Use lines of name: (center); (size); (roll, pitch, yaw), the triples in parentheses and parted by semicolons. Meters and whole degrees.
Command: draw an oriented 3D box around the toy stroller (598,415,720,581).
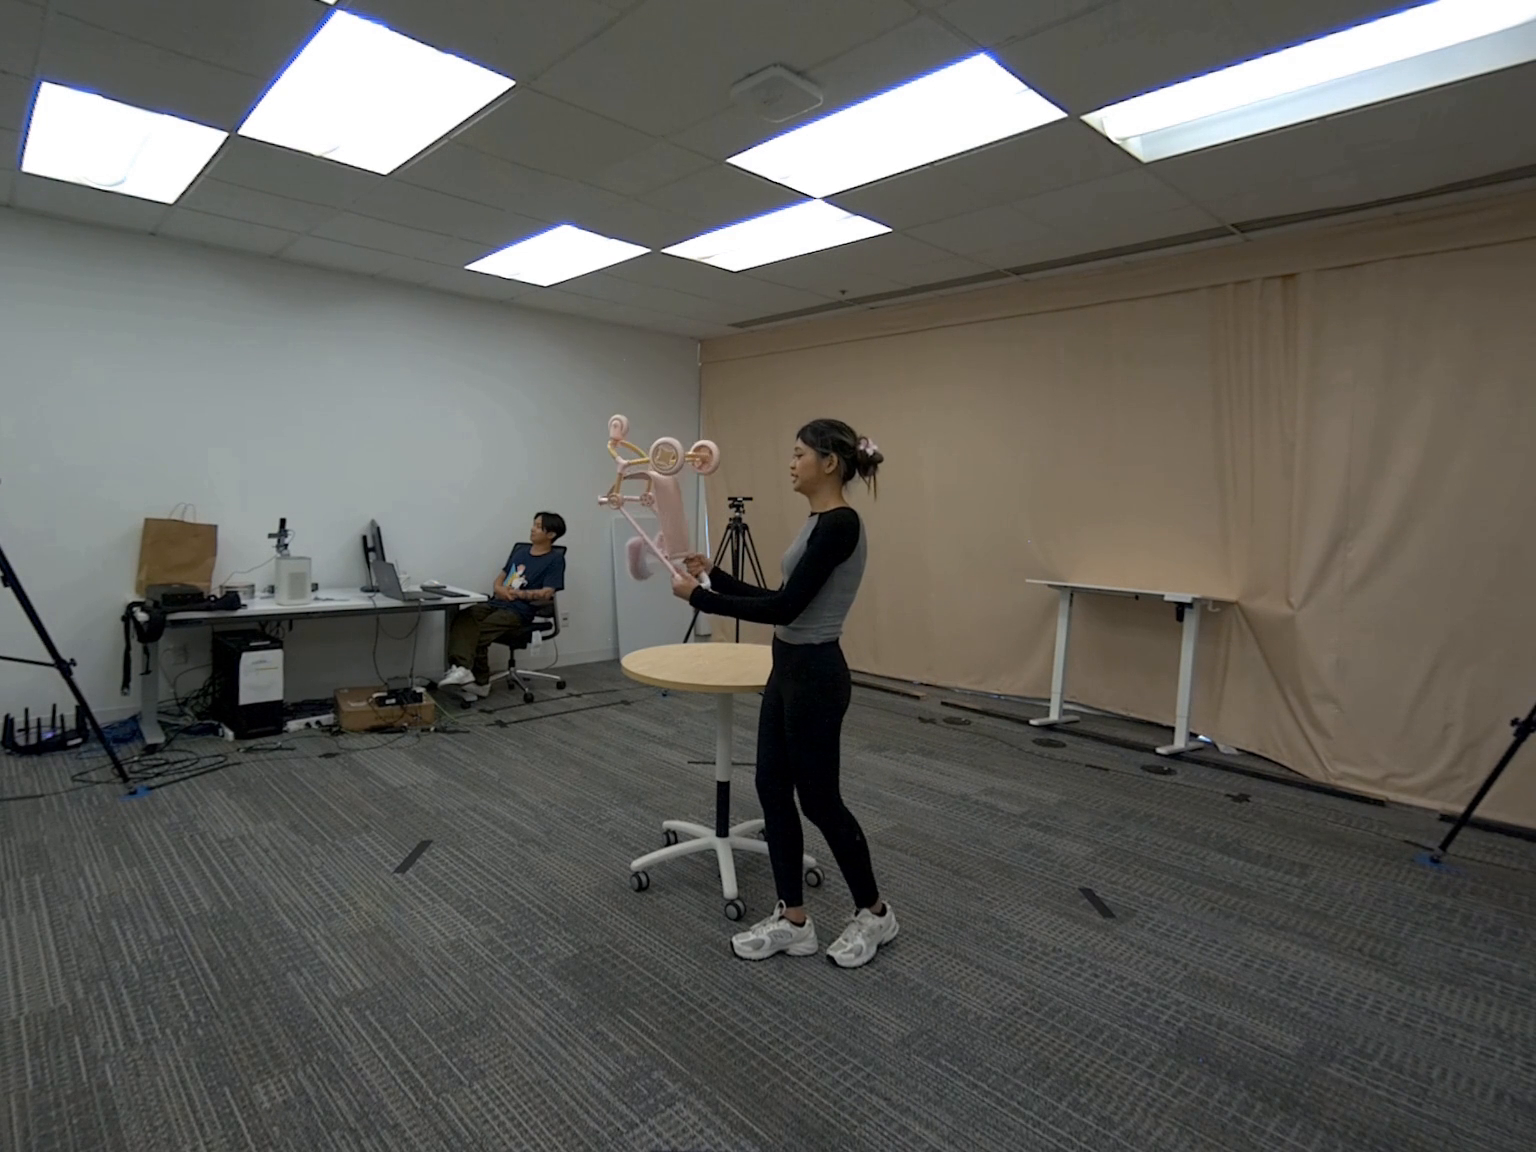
toy stroller: (-0.355, -0.214, 2.577); (0.346, 0.532, 0.279); (5, 8, 15)
